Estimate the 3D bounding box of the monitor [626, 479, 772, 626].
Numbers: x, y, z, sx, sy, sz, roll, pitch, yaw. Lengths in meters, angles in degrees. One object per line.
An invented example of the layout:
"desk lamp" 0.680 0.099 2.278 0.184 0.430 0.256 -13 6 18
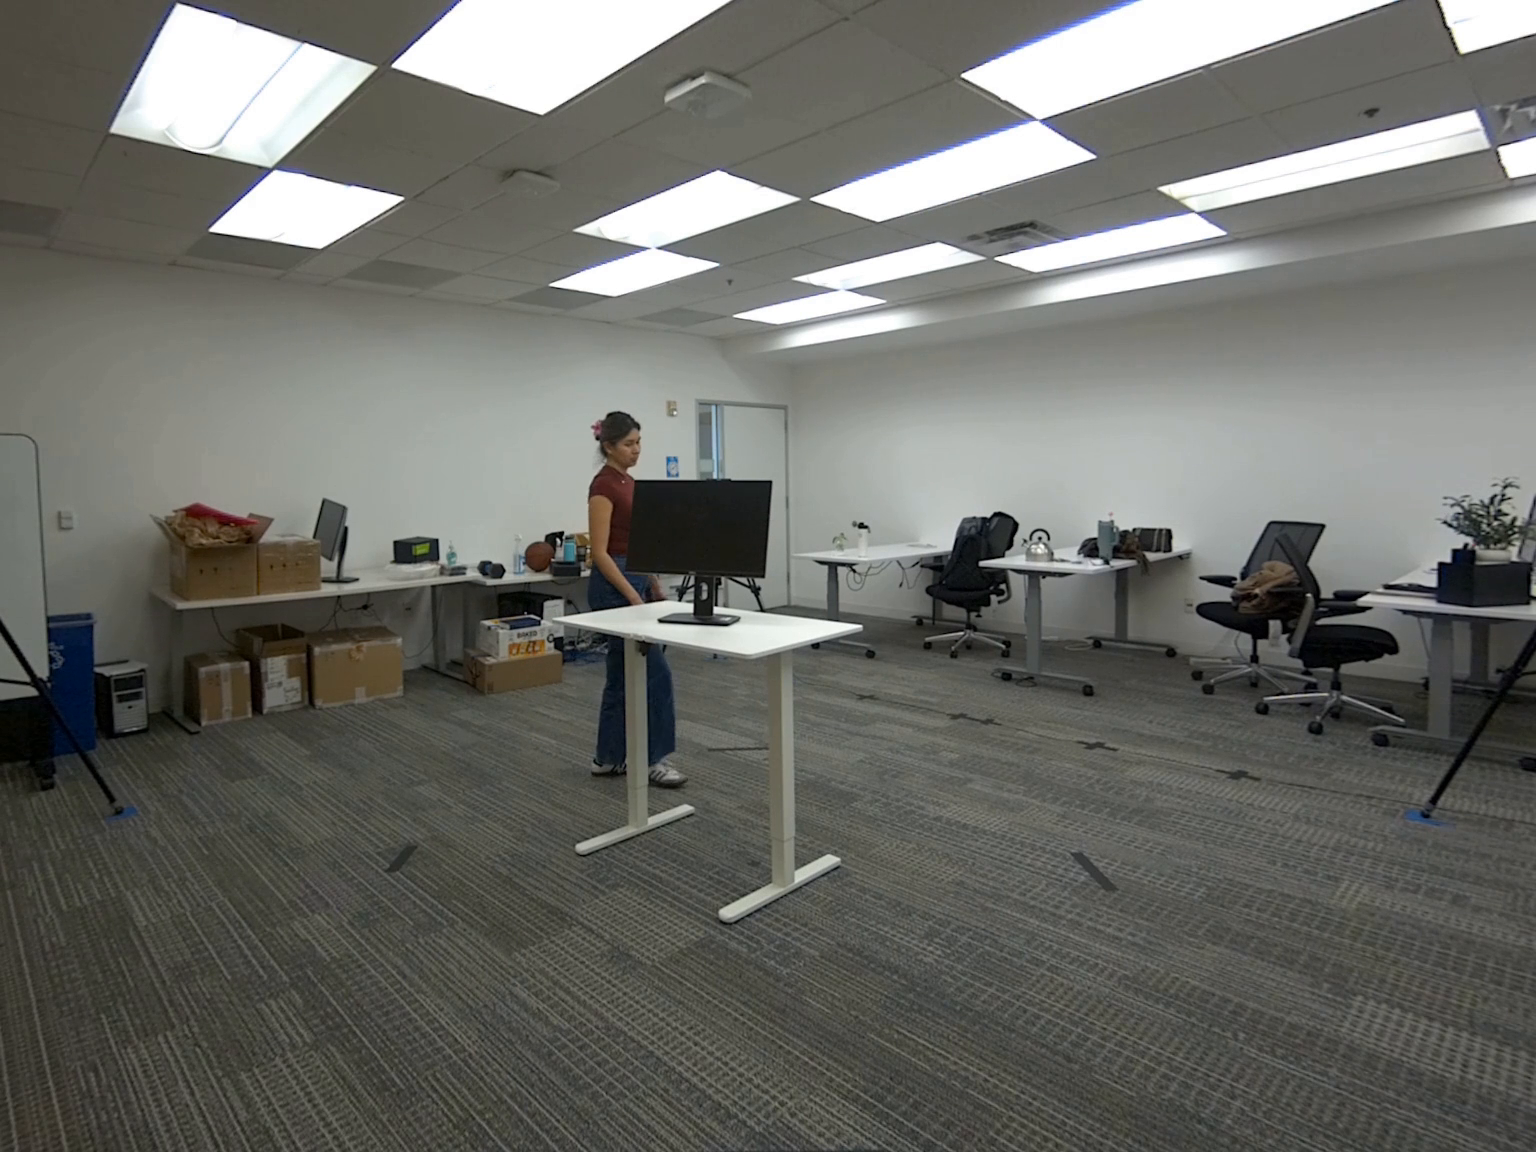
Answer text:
"monitor" -0.243 -0.088 3.116 0.548 0.521 0.184 1 3 16
